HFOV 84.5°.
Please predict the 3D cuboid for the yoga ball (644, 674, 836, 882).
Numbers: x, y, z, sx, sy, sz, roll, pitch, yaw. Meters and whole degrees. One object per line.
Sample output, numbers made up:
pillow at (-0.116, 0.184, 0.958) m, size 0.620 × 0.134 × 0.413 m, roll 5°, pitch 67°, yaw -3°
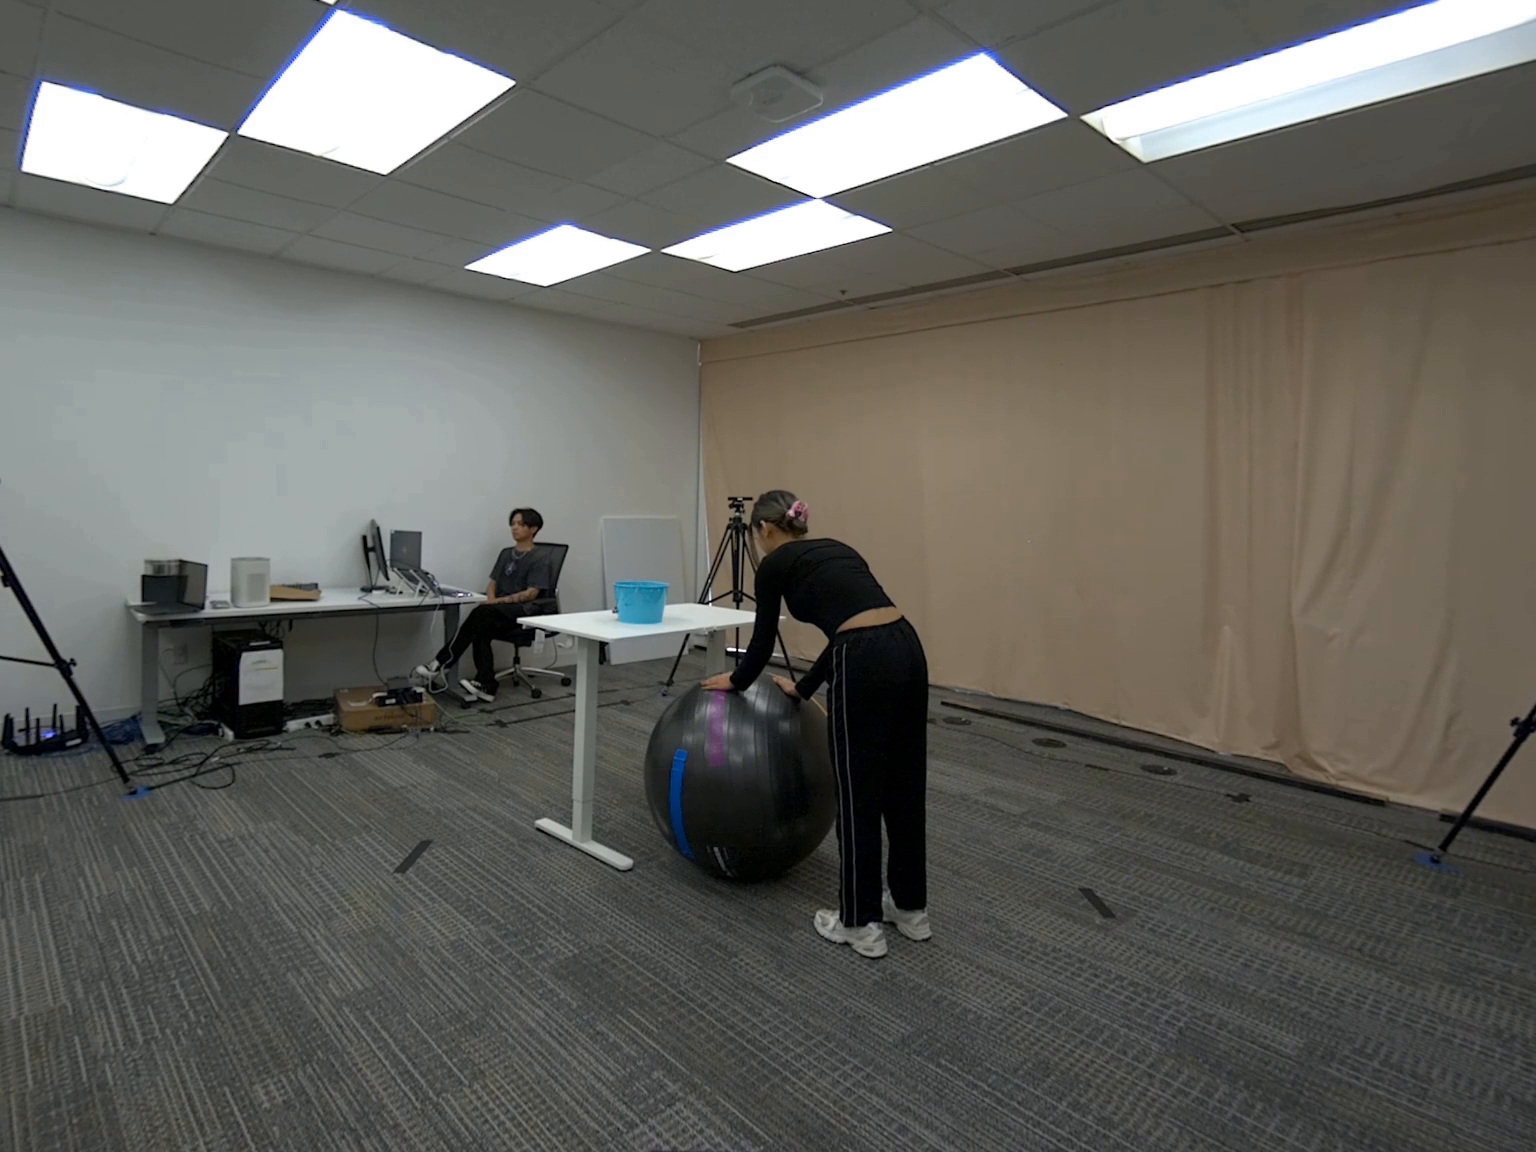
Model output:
yoga ball at (-0.088, 0.740, 3.176) m, size 0.757 × 0.756 × 0.760 m, roll 1°, pitch 4°, yaw -1°
